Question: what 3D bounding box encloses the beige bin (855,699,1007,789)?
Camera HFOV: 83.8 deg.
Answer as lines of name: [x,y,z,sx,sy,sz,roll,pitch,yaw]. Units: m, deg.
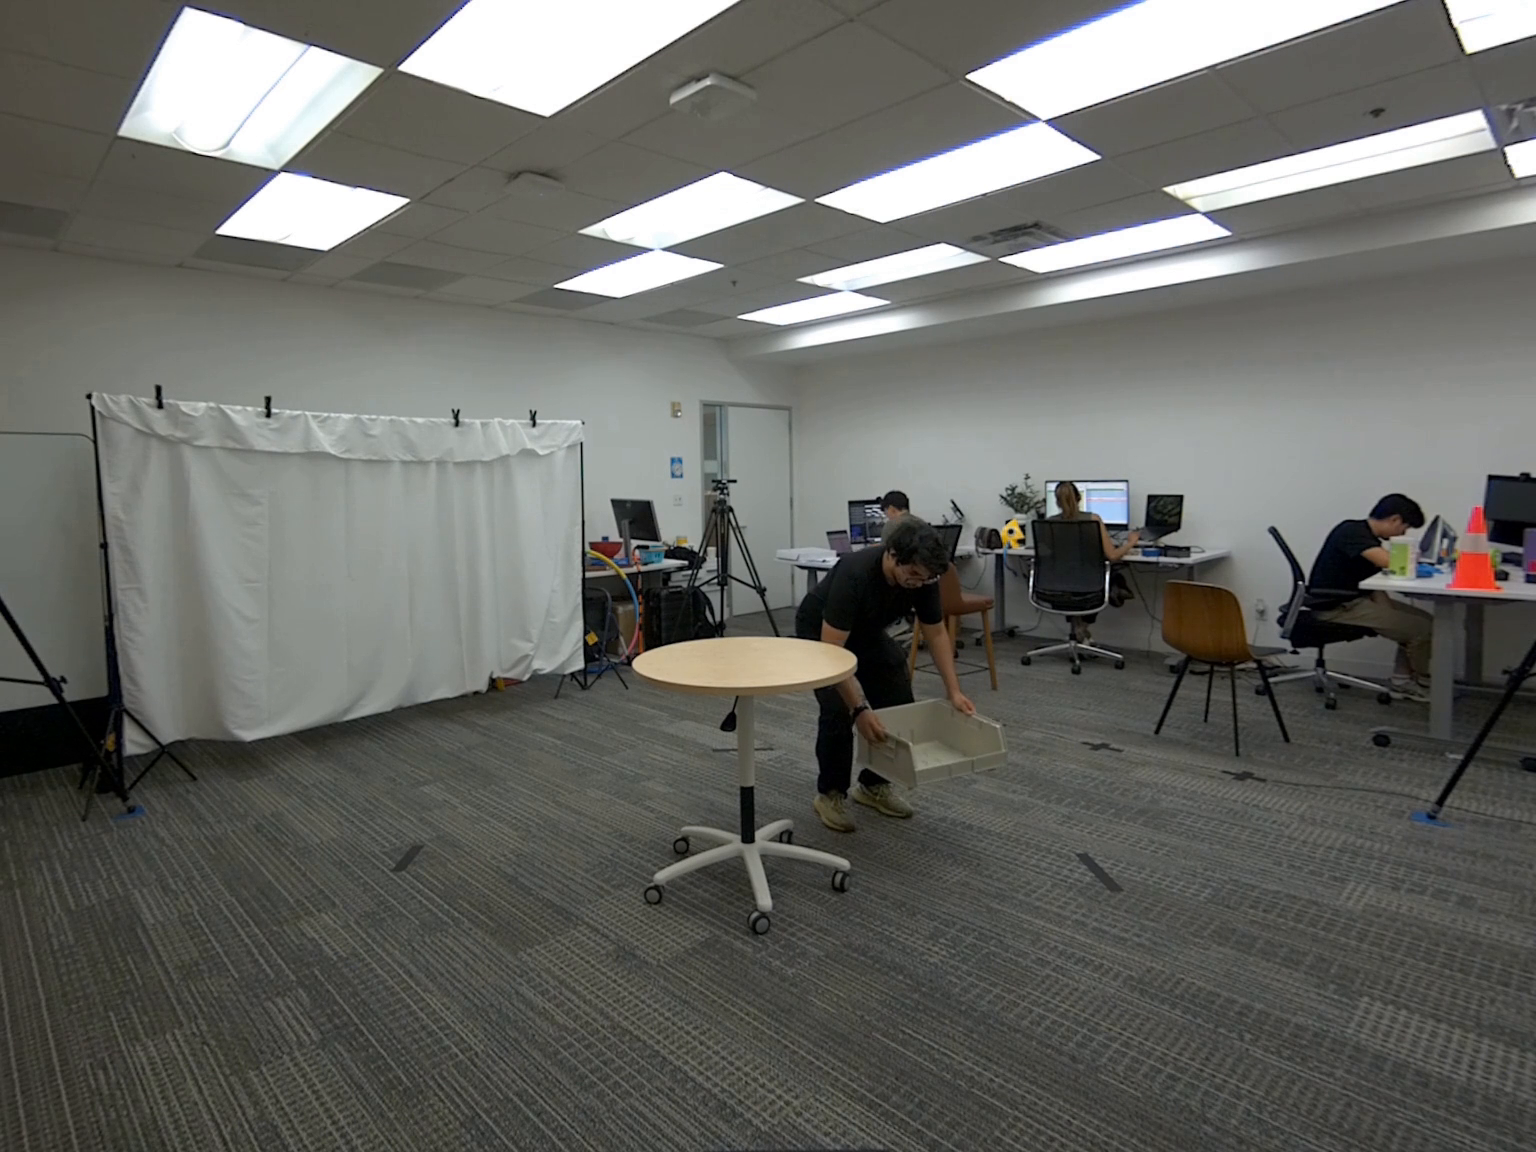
beige bin: [0.595,0.623,3.157,0.413,0.187,0.388,-7,10,-29]
